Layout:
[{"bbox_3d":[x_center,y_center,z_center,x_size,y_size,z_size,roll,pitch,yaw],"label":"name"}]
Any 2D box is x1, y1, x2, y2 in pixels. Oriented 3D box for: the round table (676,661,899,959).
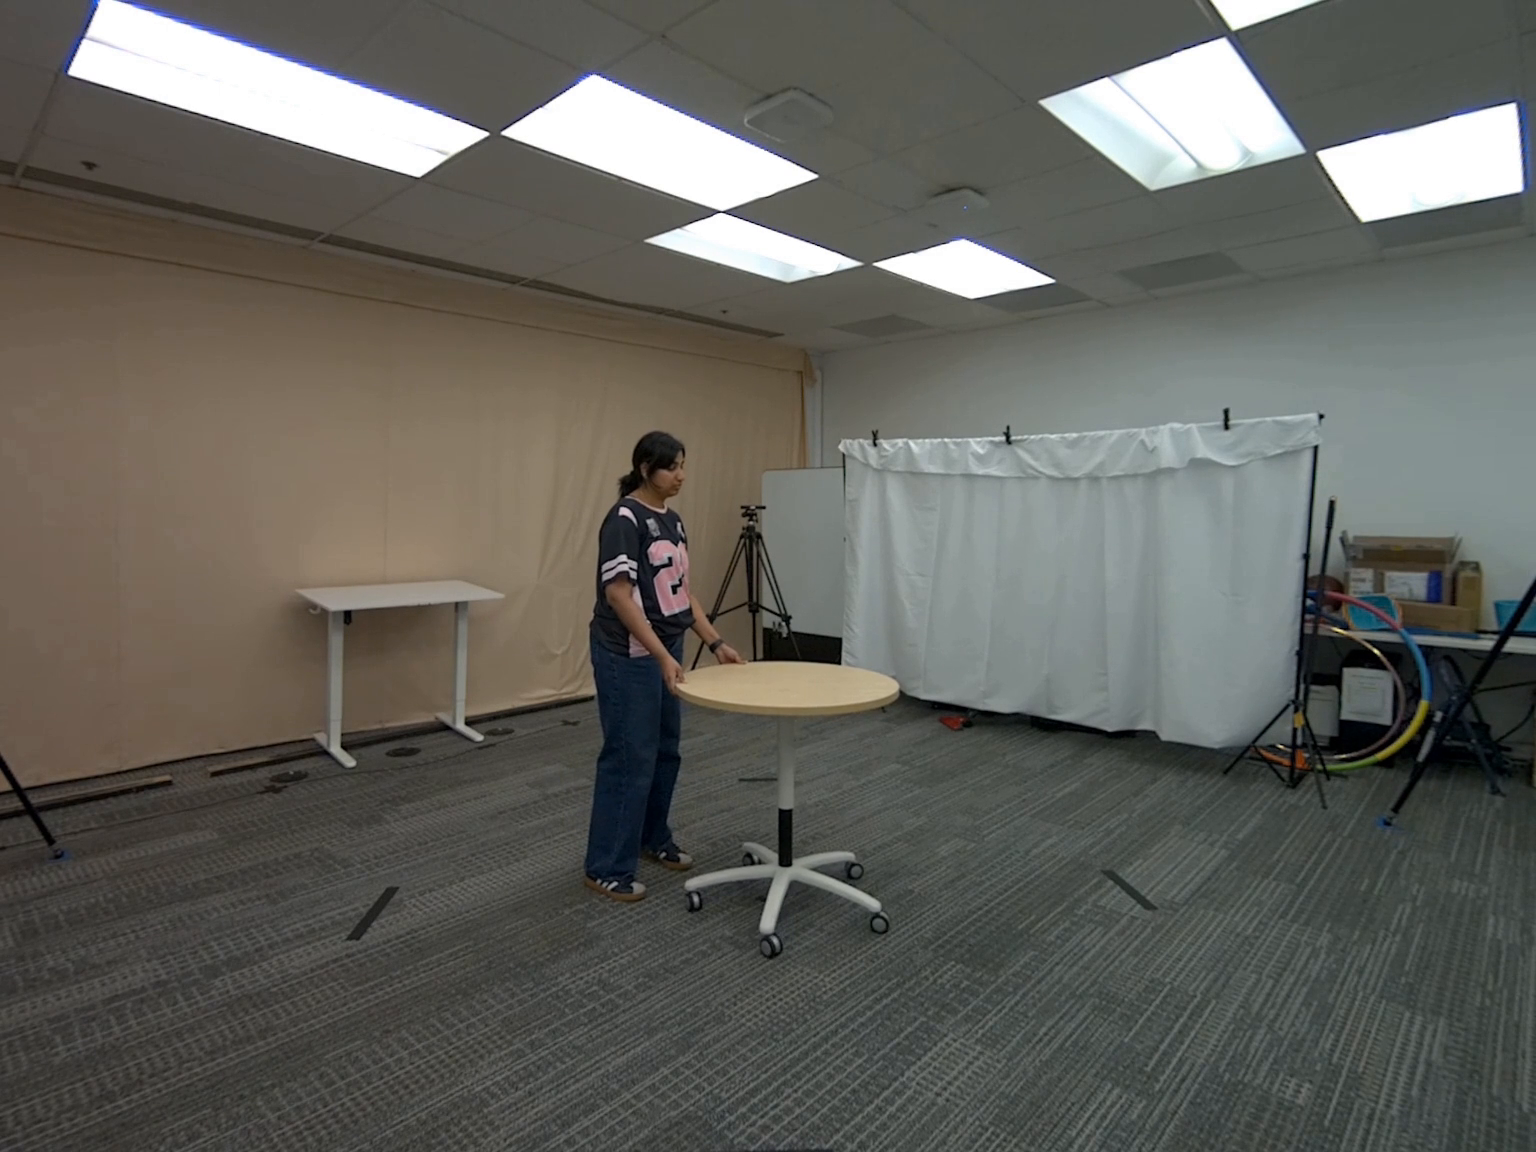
[{"bbox_3d":[0.066,0.761,2.916,0.763,0.792,0.766,0,3,-2],"label":"round table"}]
